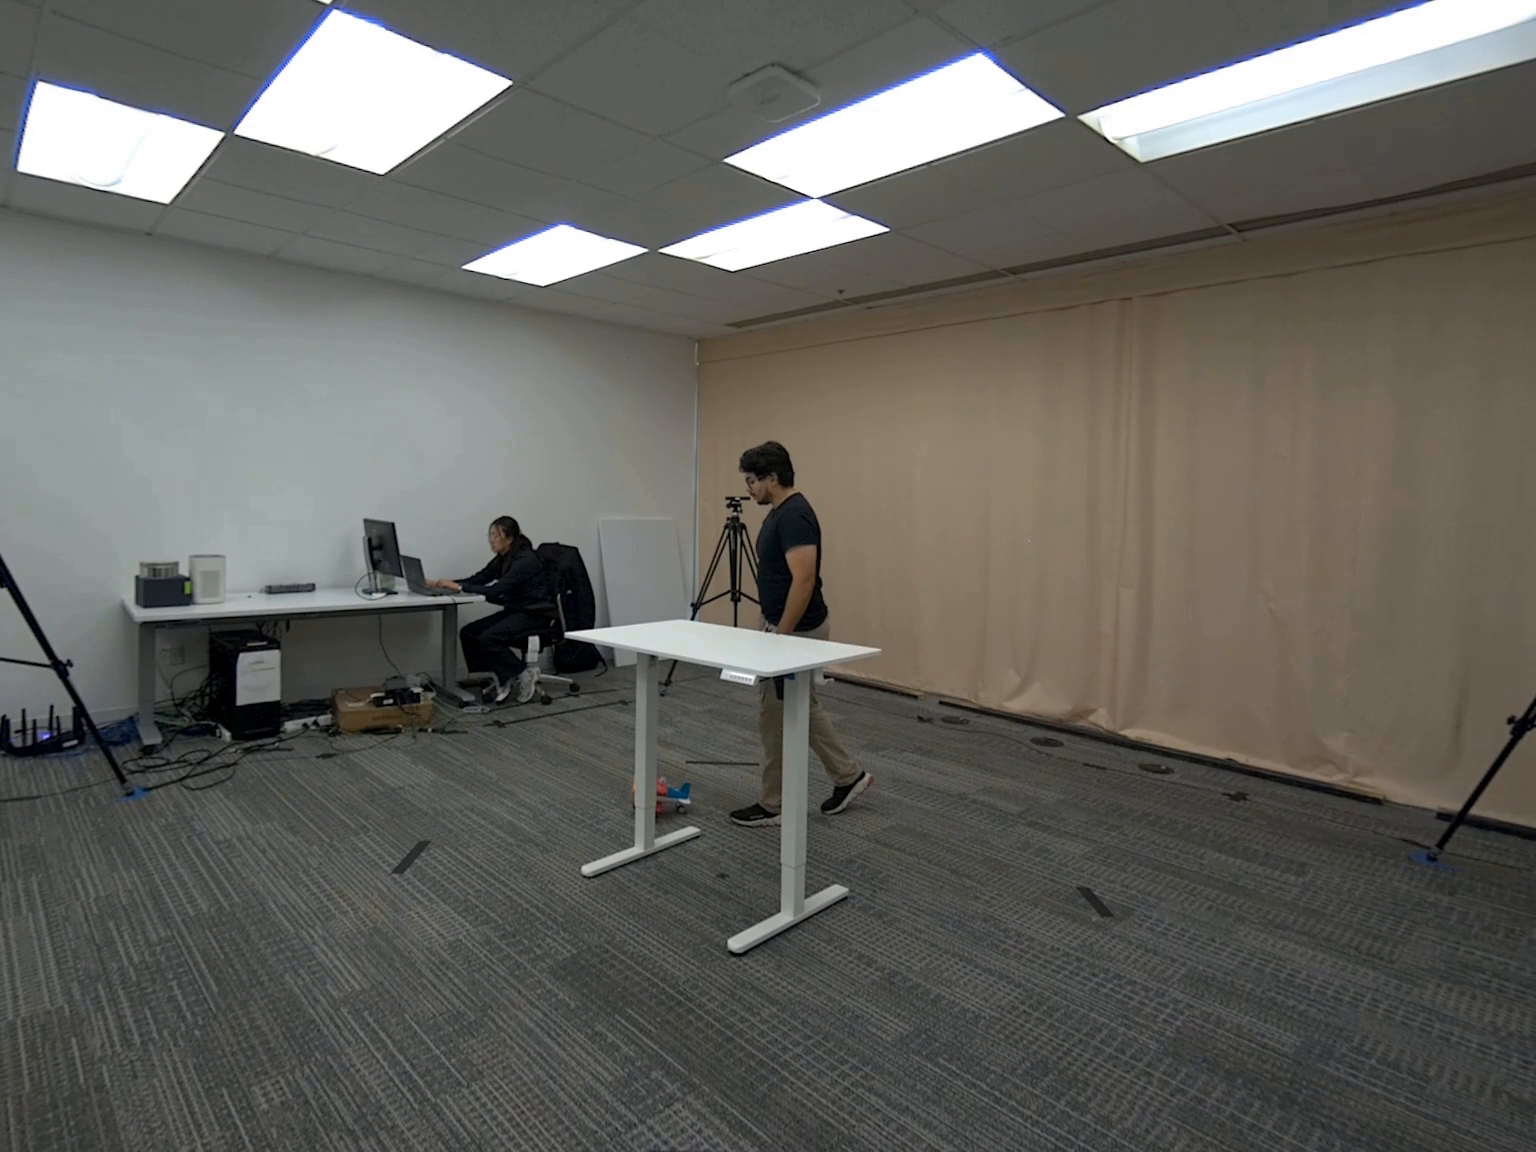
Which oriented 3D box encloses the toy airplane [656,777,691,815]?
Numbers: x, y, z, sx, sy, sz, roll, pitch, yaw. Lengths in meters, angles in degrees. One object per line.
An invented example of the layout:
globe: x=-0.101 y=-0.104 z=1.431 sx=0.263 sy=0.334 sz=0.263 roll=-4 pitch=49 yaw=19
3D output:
toy airplane: x=-0.477 y=0.969 z=3.724 sx=0.253 sy=0.156 sz=0.257 roll=-5 pitch=6 yaw=-42
